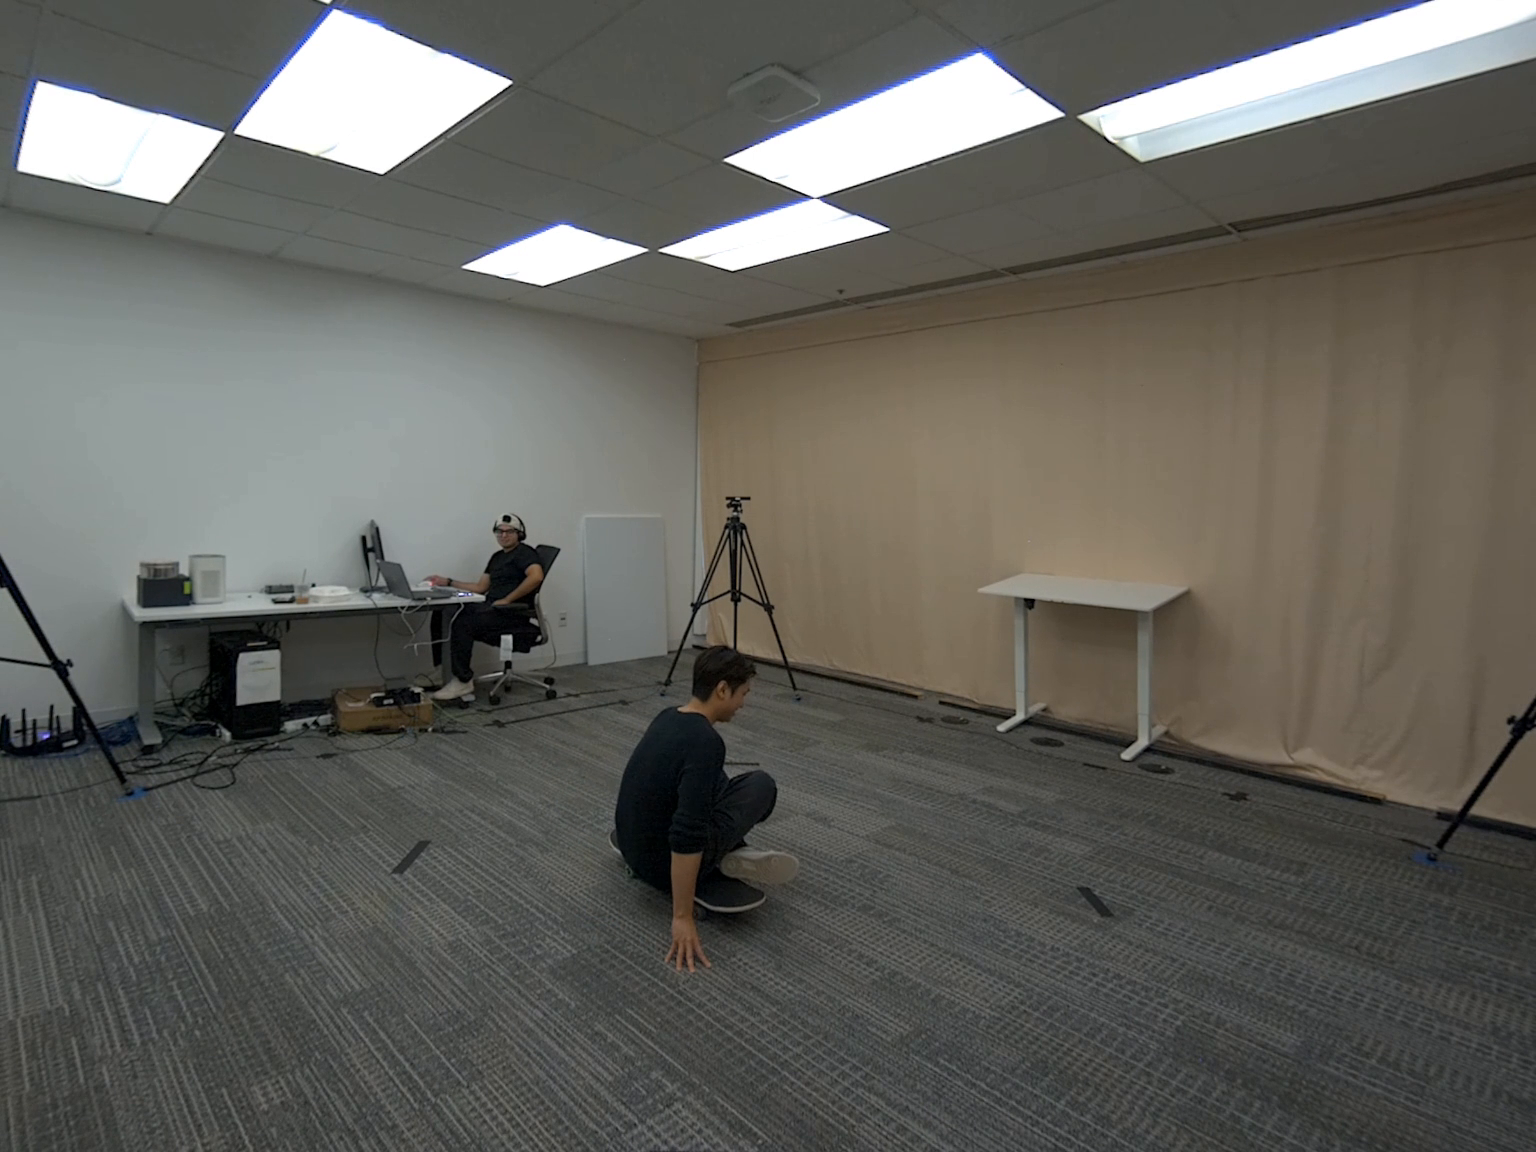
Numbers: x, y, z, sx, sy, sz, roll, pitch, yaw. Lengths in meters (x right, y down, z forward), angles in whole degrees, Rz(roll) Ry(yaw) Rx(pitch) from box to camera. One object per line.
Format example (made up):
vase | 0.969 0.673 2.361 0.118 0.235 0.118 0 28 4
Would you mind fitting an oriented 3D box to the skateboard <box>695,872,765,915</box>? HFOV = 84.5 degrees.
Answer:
skateboard | -0.304 1.071 3.001 0.806 0.110 0.189 7 9 44
